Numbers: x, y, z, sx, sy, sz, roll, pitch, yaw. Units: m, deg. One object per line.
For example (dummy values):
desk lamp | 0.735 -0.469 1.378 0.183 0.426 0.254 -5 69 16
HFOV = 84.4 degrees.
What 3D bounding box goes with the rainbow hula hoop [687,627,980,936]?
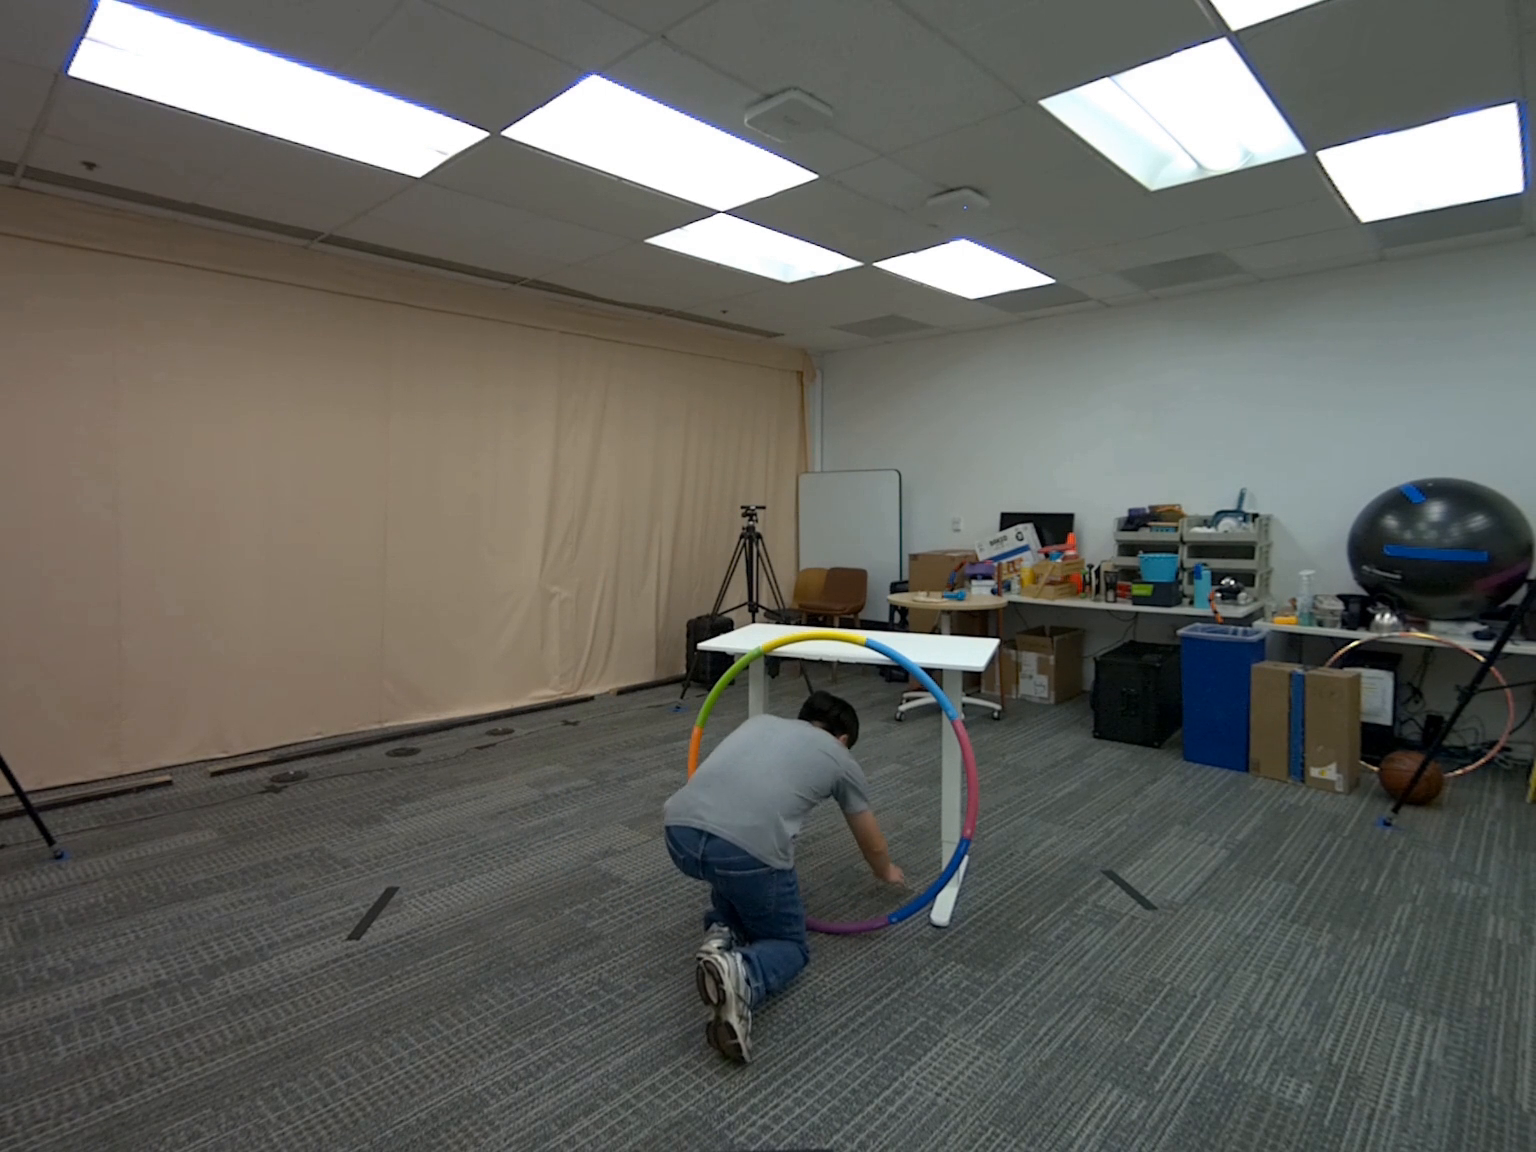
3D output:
rainbow hula hoop | 0.184 0.675 2.809 1.000 0.982 0.034 1 -7 21
